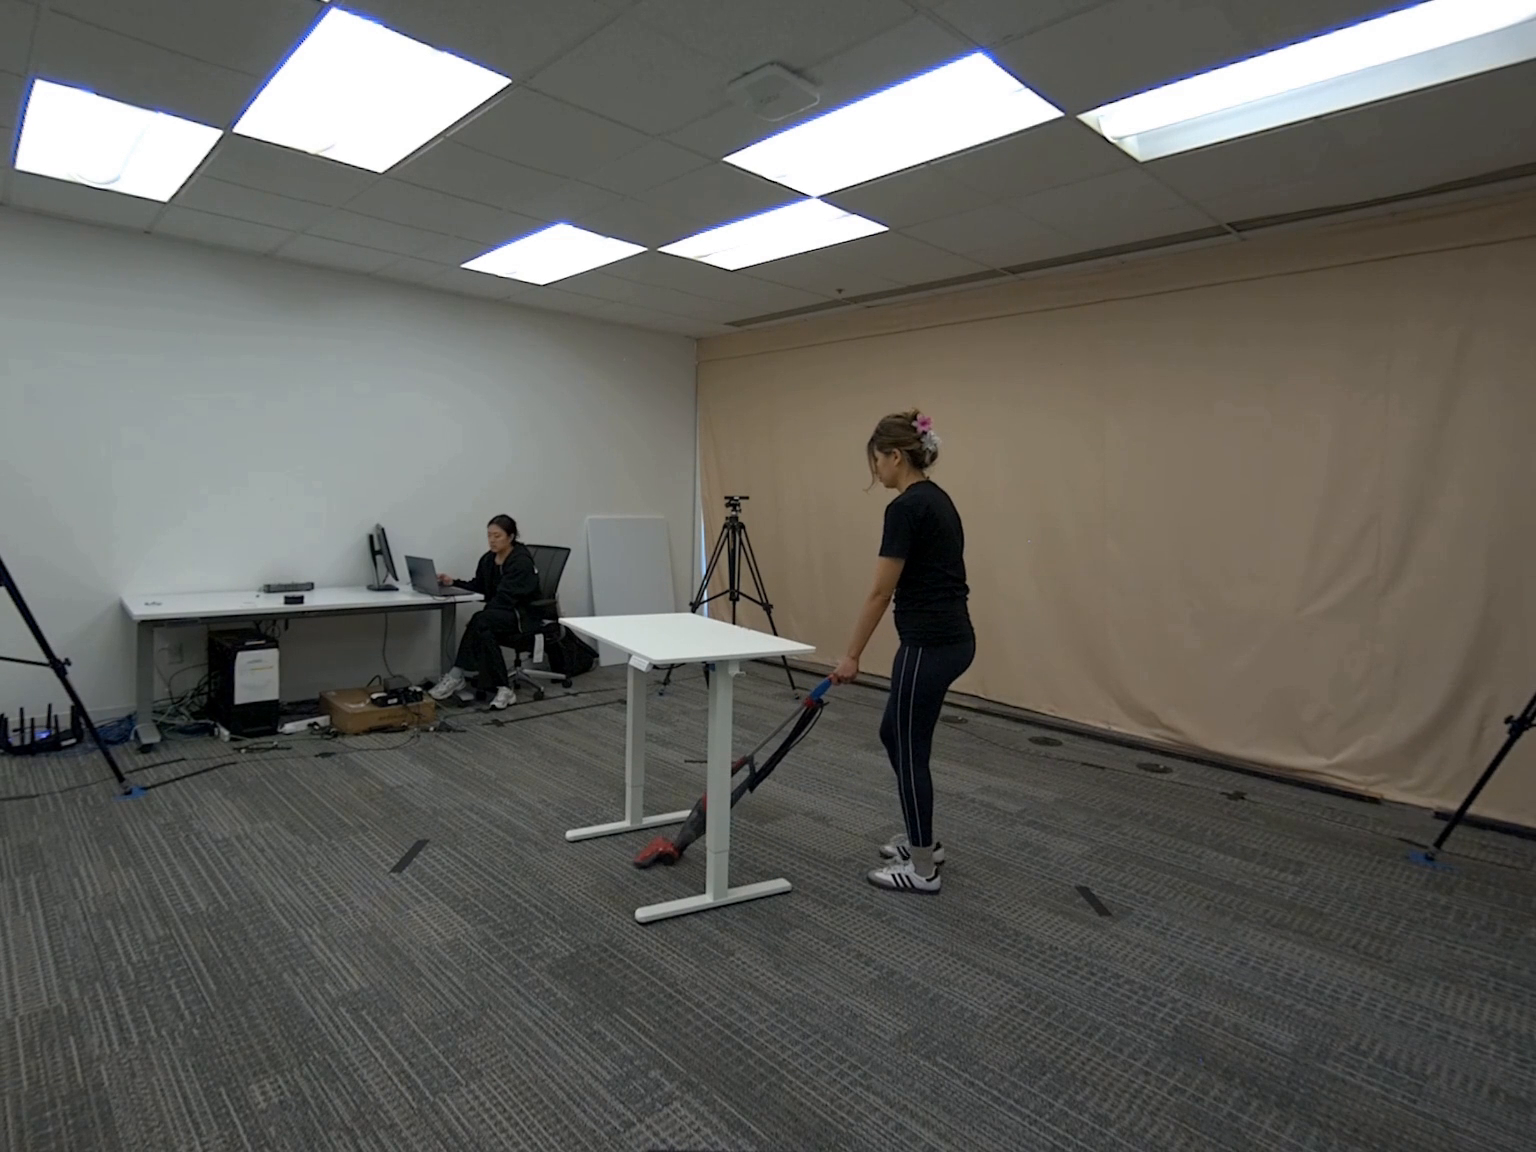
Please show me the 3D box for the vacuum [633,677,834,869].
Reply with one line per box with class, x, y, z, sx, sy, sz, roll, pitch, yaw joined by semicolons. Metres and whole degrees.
vacuum;-0.061;0.728;3.134;1.050;0.143;0.253;-43;5;11
